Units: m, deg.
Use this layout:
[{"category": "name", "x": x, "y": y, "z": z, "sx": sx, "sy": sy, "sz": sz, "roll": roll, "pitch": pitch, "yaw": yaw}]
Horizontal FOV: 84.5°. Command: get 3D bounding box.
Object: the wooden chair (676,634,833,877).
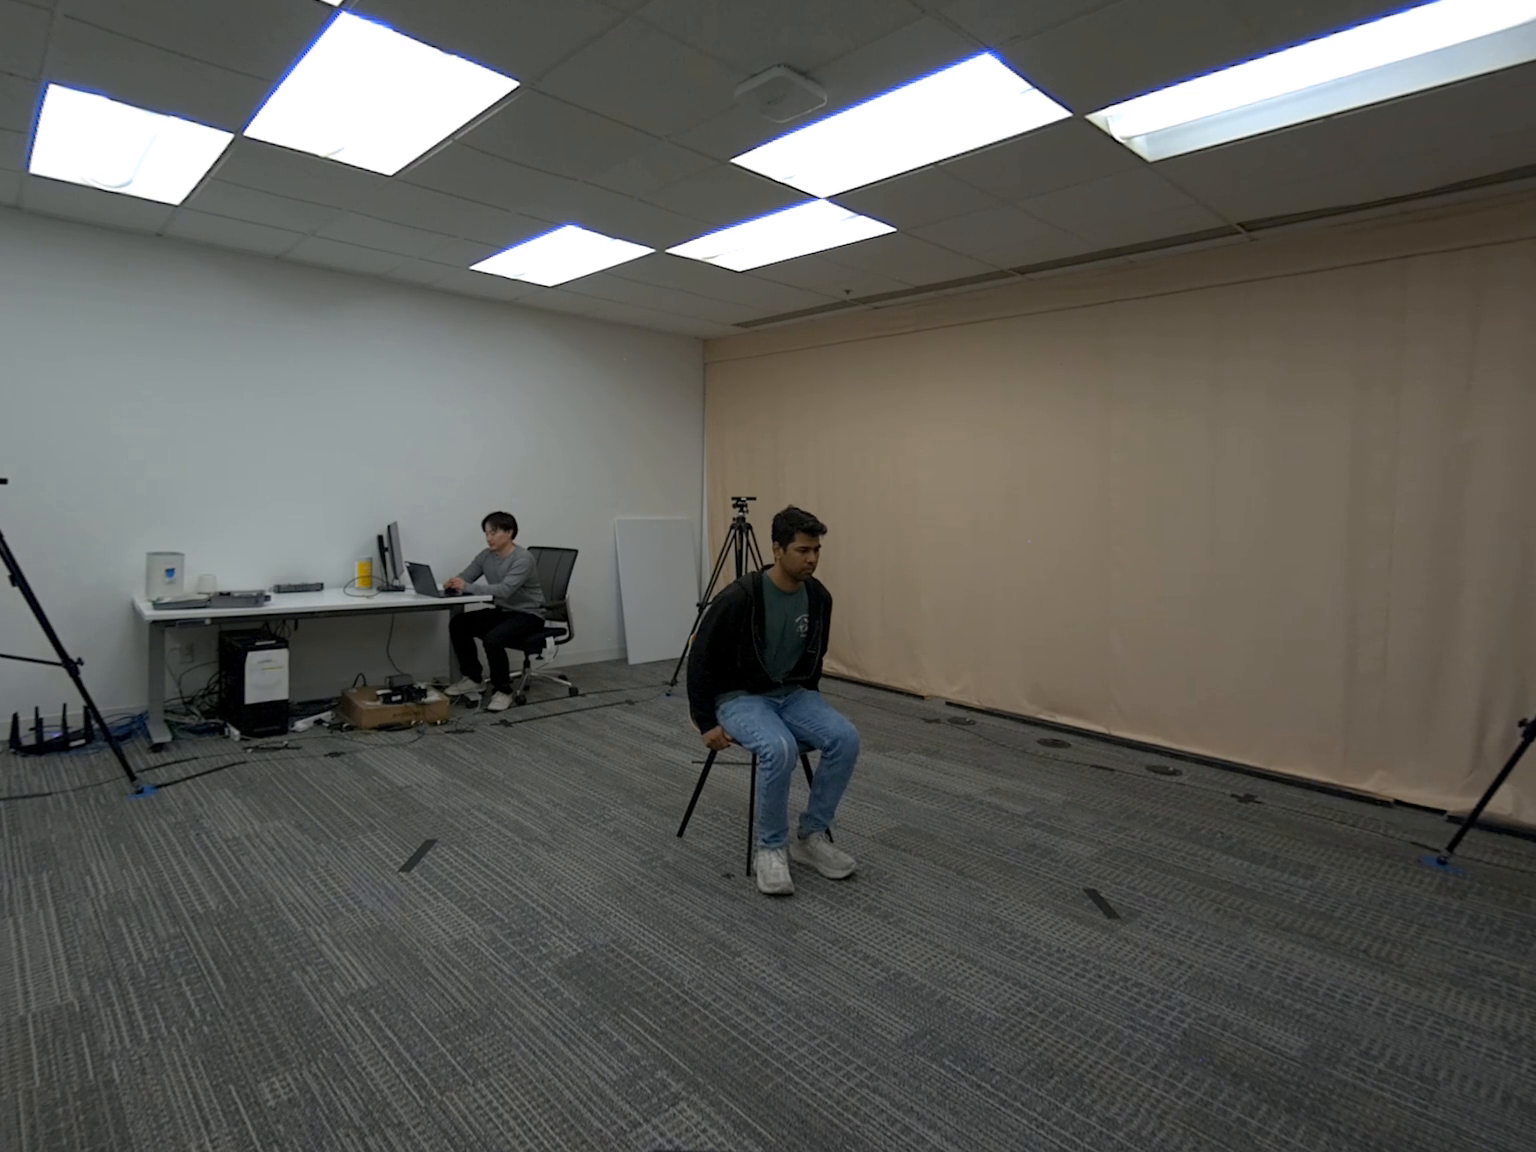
[{"category": "wooden chair", "x": -0.036, "y": 0.661, "z": 3.381, "sx": 0.467, "sy": 0.877, "sz": 0.535, "roll": -1, "pitch": 1, "yaw": -40}]
